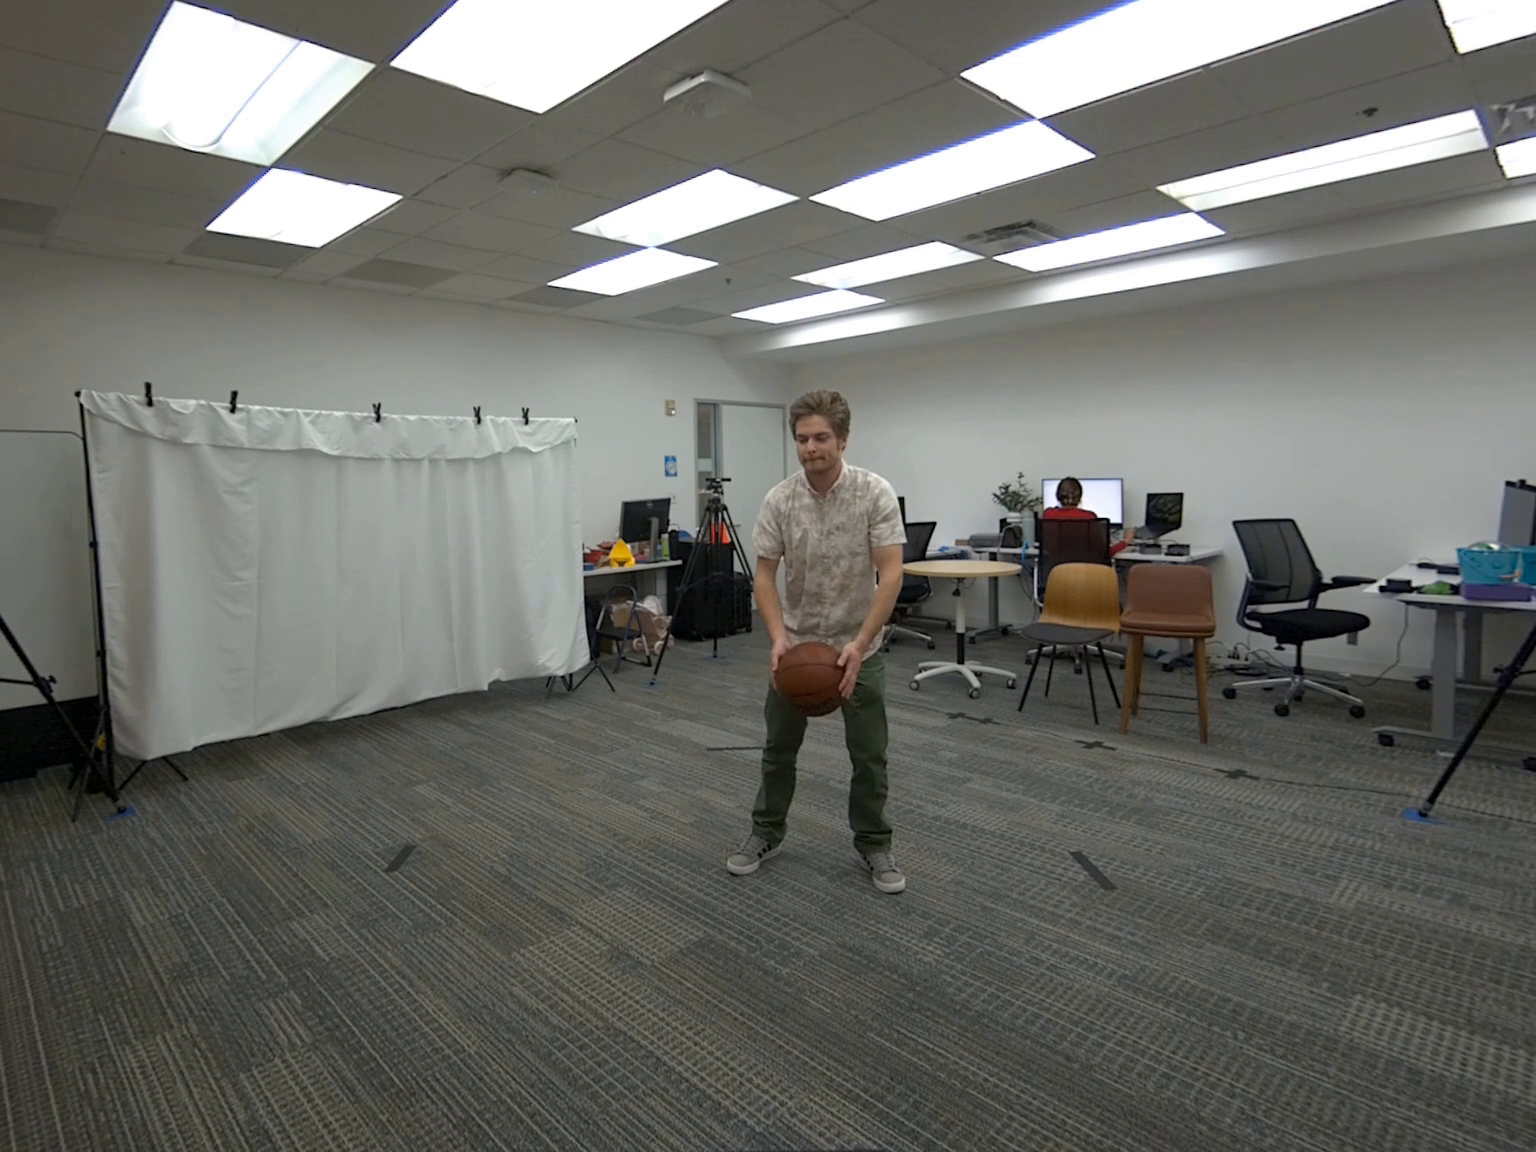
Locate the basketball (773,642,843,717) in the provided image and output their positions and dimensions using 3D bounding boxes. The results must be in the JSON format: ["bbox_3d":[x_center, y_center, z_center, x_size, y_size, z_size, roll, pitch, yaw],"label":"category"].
[{"bbox_3d":[0.153,0.323,2.728,0.236,0.235,0.237,-1,5,-2],"label":"basketball"}]
